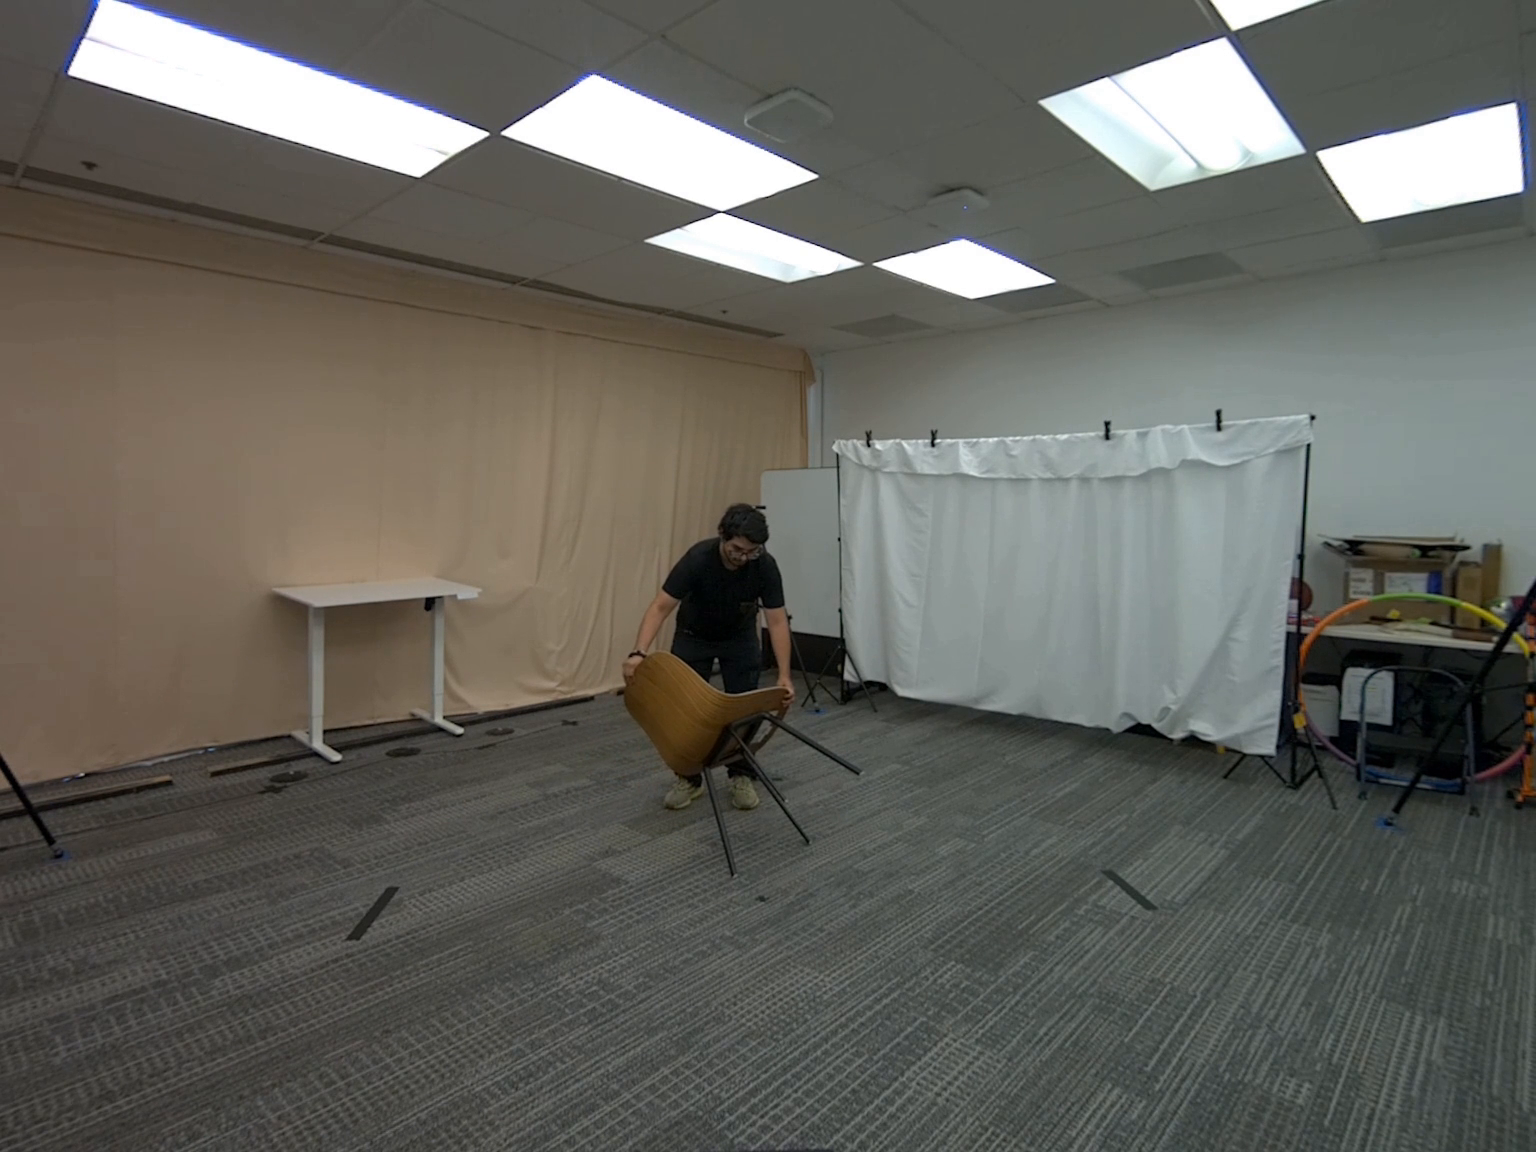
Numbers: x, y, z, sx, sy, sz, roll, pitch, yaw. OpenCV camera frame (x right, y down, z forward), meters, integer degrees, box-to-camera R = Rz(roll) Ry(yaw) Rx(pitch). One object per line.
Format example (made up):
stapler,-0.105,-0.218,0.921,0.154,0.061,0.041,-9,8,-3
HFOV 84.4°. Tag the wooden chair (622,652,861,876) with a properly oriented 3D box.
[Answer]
wooden chair,-0.132,0.671,3.438,0.508,0.477,0.904,-8,44,-48
